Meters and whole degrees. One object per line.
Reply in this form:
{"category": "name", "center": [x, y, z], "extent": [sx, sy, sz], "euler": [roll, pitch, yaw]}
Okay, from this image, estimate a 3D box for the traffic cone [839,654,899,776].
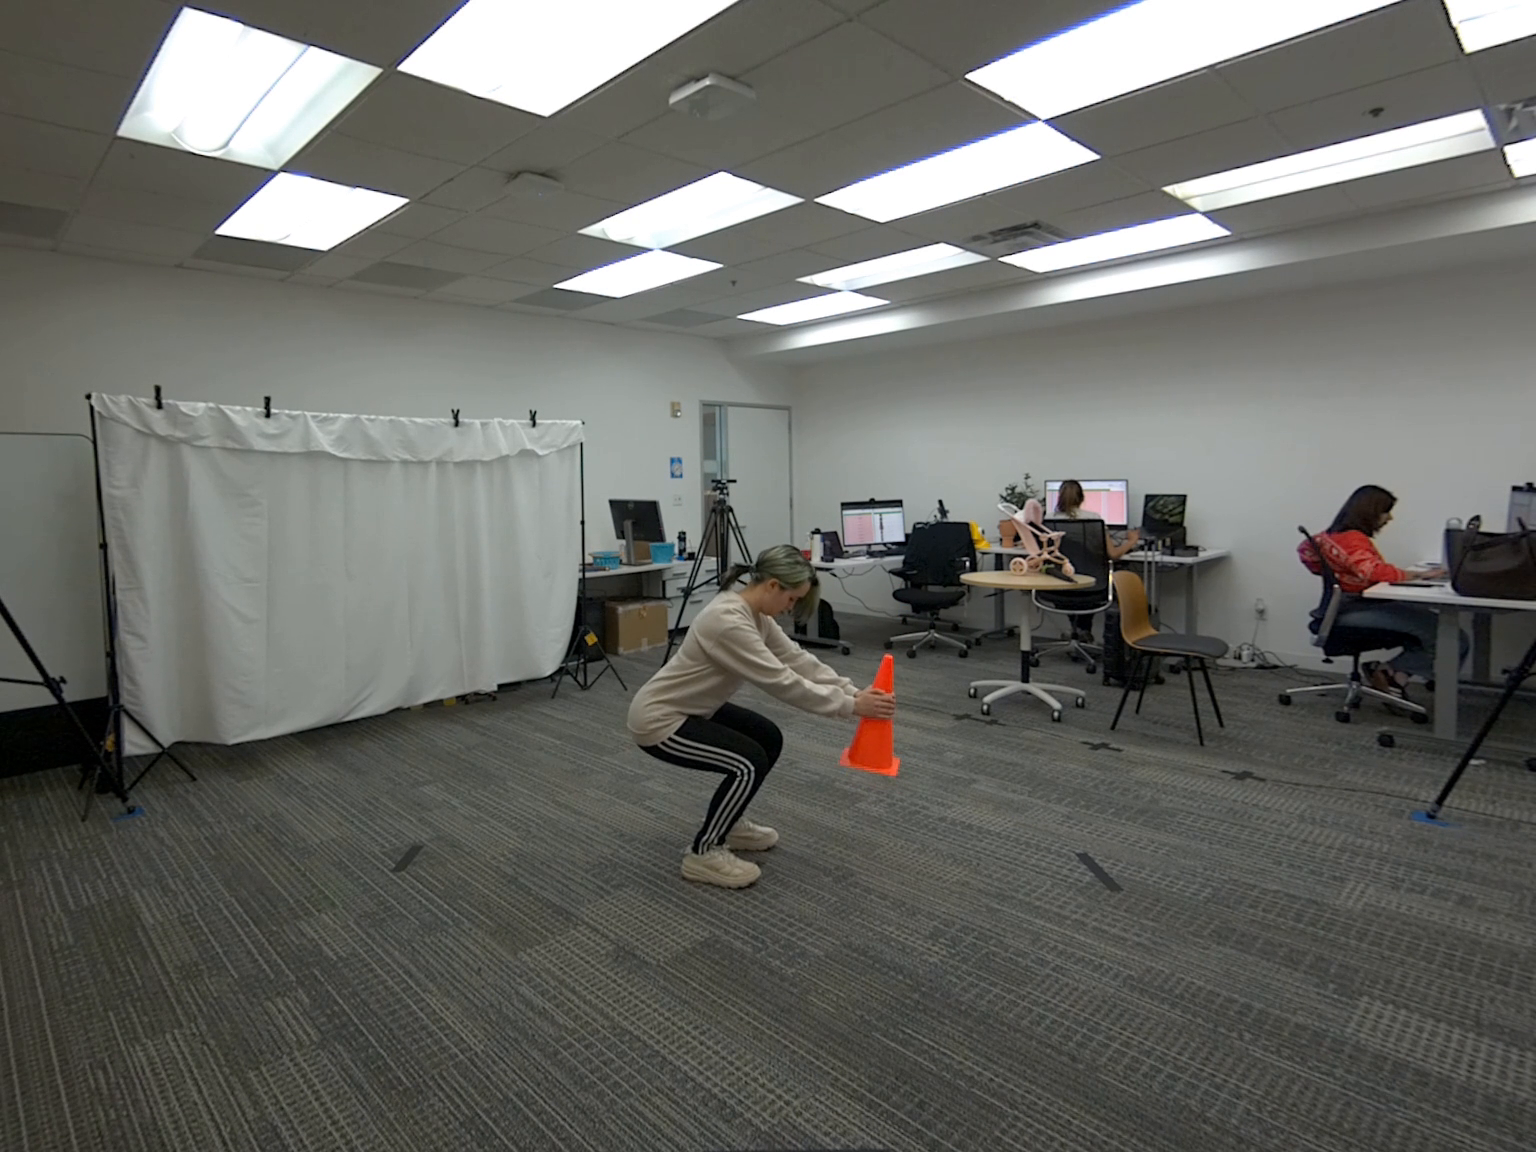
{"category": "traffic cone", "center": [0.379, 0.457, 2.958], "extent": [0.207, 0.382, 0.203], "euler": [10, 7, 14]}
